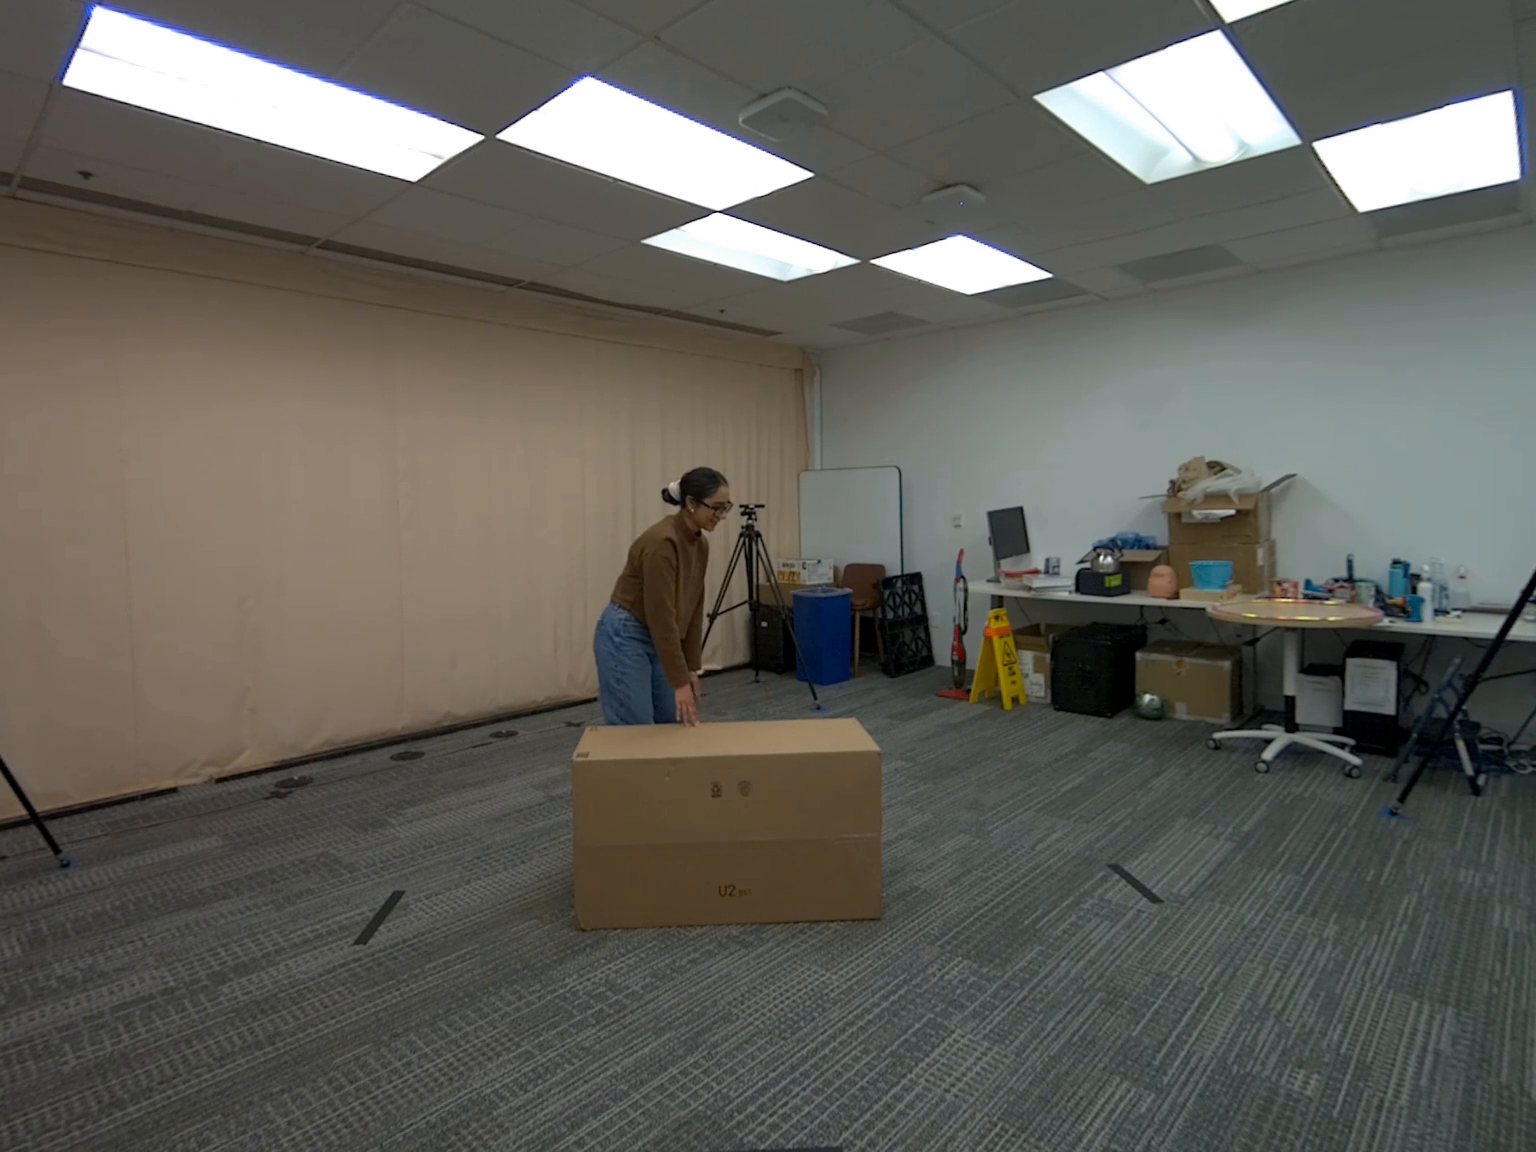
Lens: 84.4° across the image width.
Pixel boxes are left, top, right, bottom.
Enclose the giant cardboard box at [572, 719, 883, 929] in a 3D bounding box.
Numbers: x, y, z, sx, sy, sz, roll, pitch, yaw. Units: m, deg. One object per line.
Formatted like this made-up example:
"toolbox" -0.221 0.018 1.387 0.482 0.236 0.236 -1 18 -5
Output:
"giant cardboard box" -0.147 0.857 2.985 1.025 0.582 0.449 -1 4 -2
